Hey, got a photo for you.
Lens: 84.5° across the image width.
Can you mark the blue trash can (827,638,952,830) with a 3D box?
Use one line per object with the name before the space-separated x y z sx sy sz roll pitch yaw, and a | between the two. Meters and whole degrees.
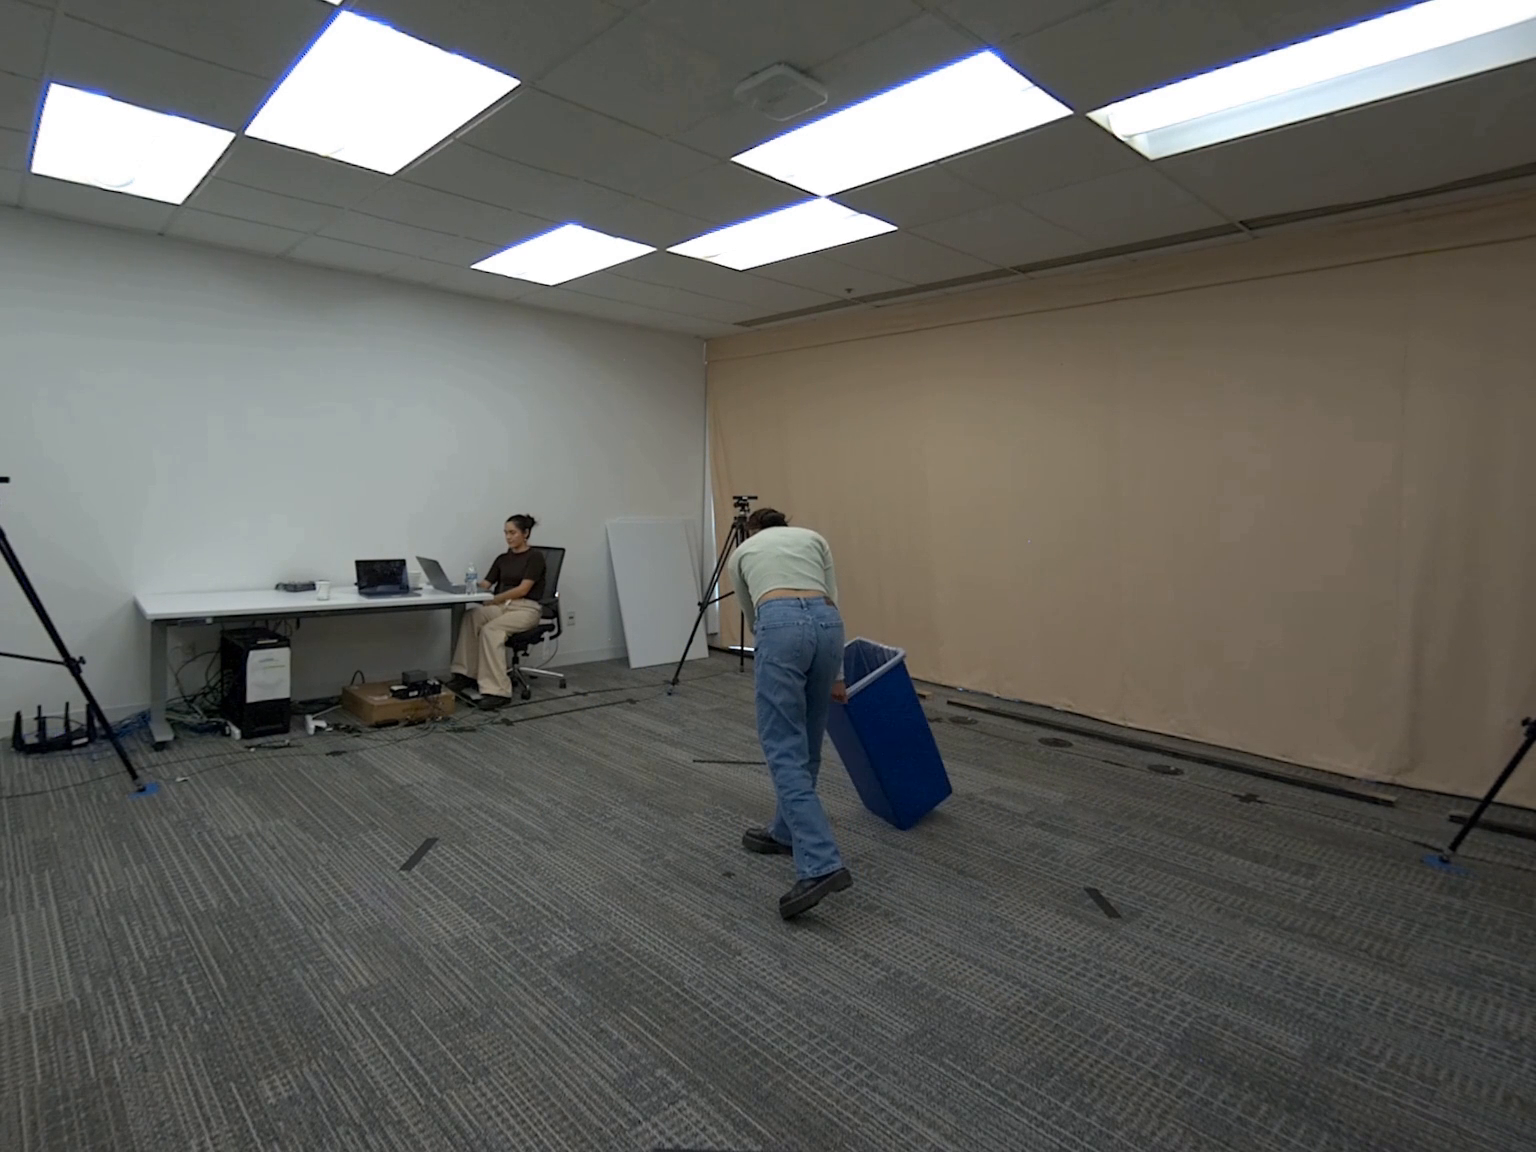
blue trash can | 0.461 0.685 3.664 0.371 0.703 0.386 -30 16 -22
